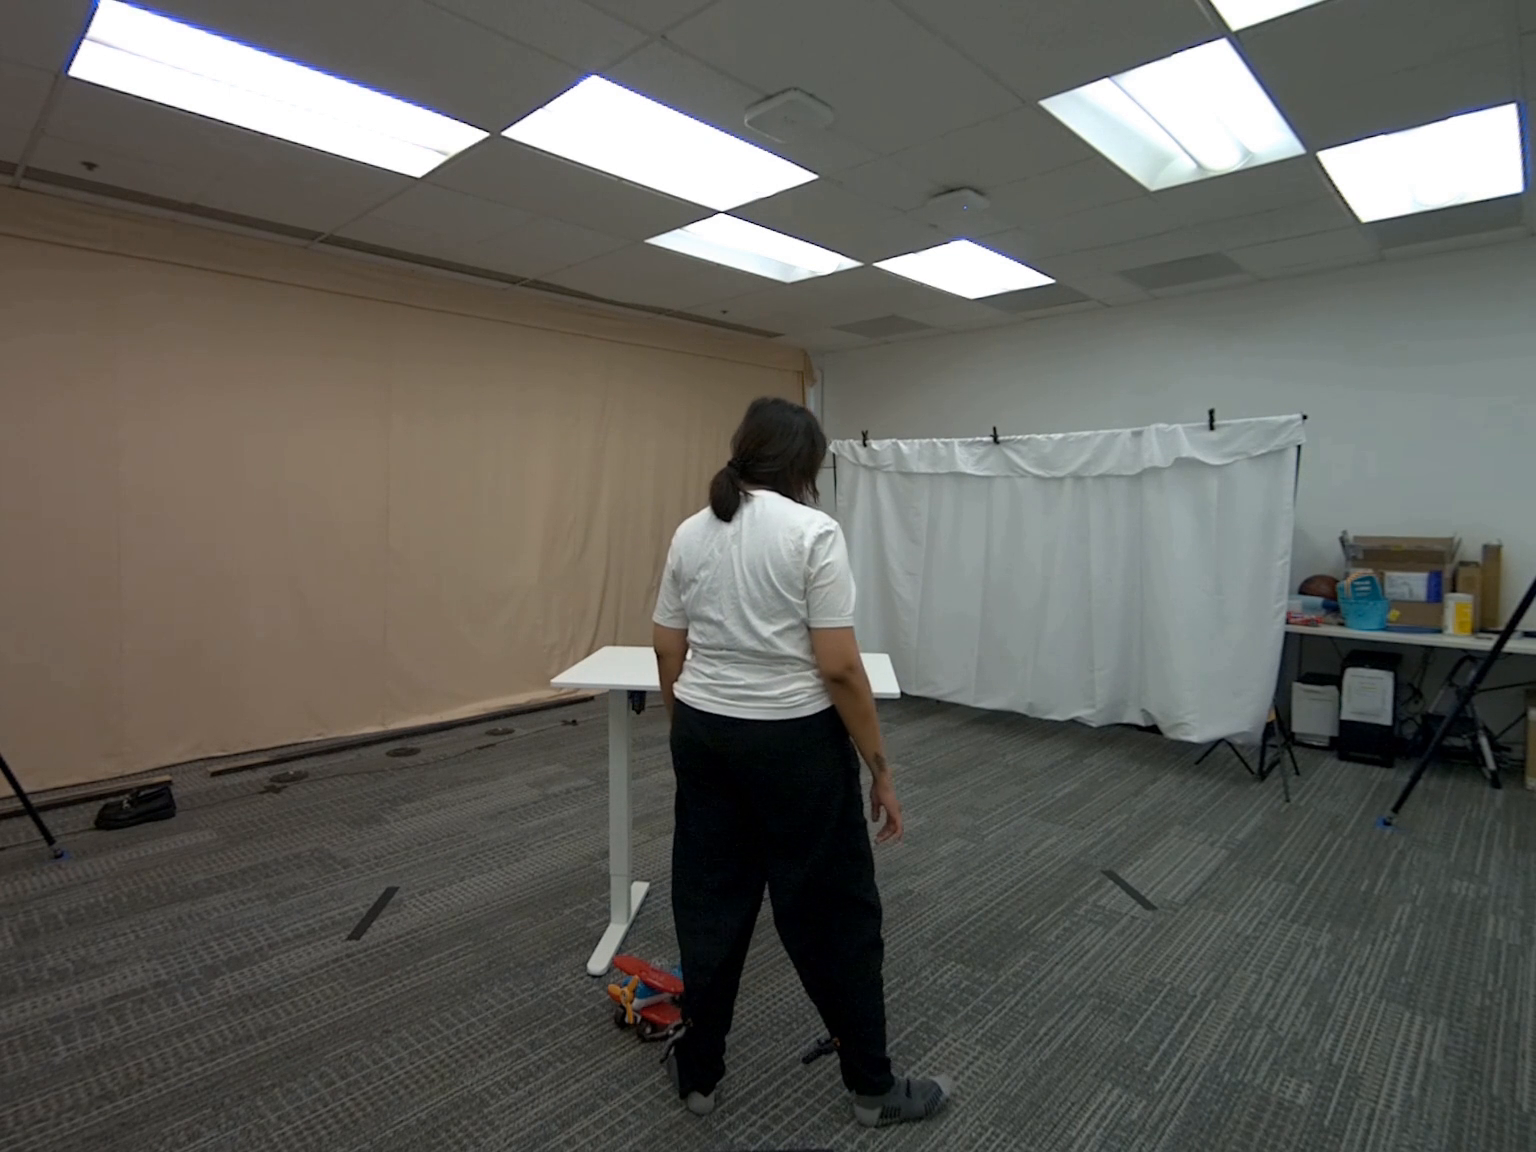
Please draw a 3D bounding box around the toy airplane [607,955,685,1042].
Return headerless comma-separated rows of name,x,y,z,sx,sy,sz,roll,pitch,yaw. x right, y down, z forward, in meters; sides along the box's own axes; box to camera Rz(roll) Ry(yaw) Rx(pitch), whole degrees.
toy airplane,-0.316,1.132,2.292,0.254,0.156,0.257,0,6,11
